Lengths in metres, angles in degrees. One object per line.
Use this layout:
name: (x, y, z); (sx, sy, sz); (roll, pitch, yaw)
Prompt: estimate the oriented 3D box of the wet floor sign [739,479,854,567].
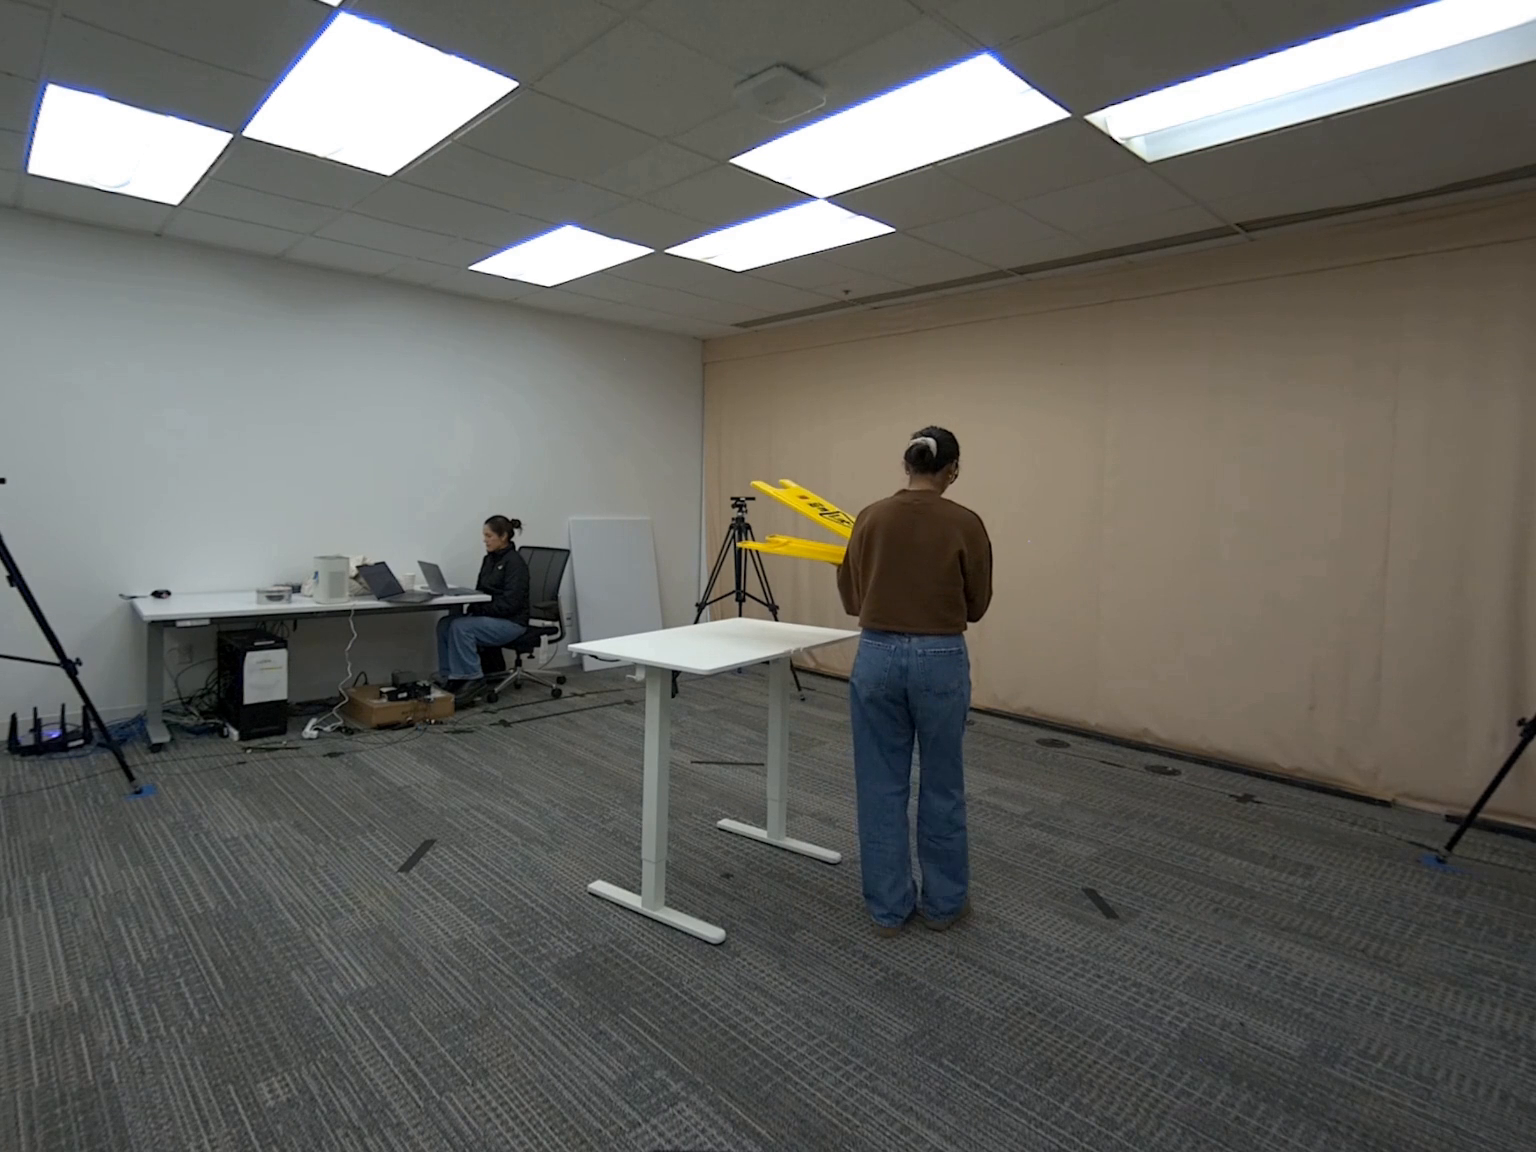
wet floor sign: (0.243, -0.137, 3.107); (0.663, 0.287, 0.277); (20, 17, 29)
